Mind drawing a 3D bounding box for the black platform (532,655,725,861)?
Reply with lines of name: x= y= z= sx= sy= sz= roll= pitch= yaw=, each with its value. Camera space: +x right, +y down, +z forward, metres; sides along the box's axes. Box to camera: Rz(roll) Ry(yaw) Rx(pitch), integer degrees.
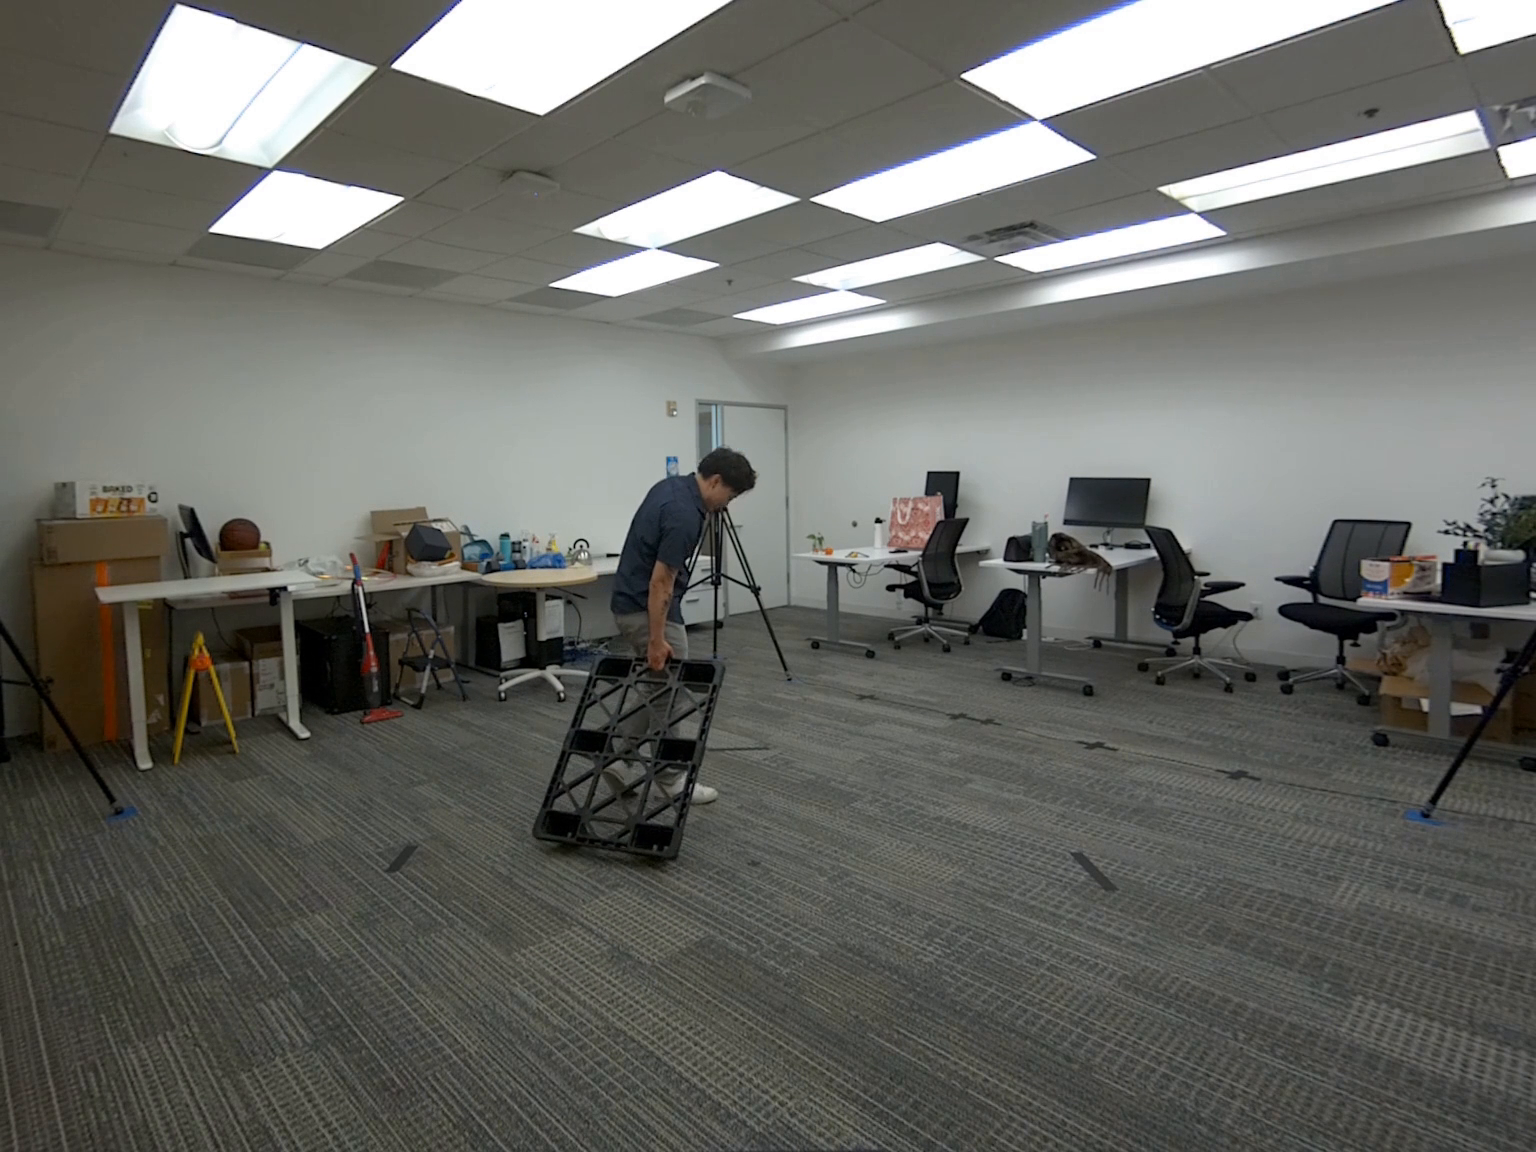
black platform: x=-0.527 y=0.707 z=3.400 sx=0.617 sy=0.820 sz=0.138 roll=-1 pitch=-37 yaw=20
